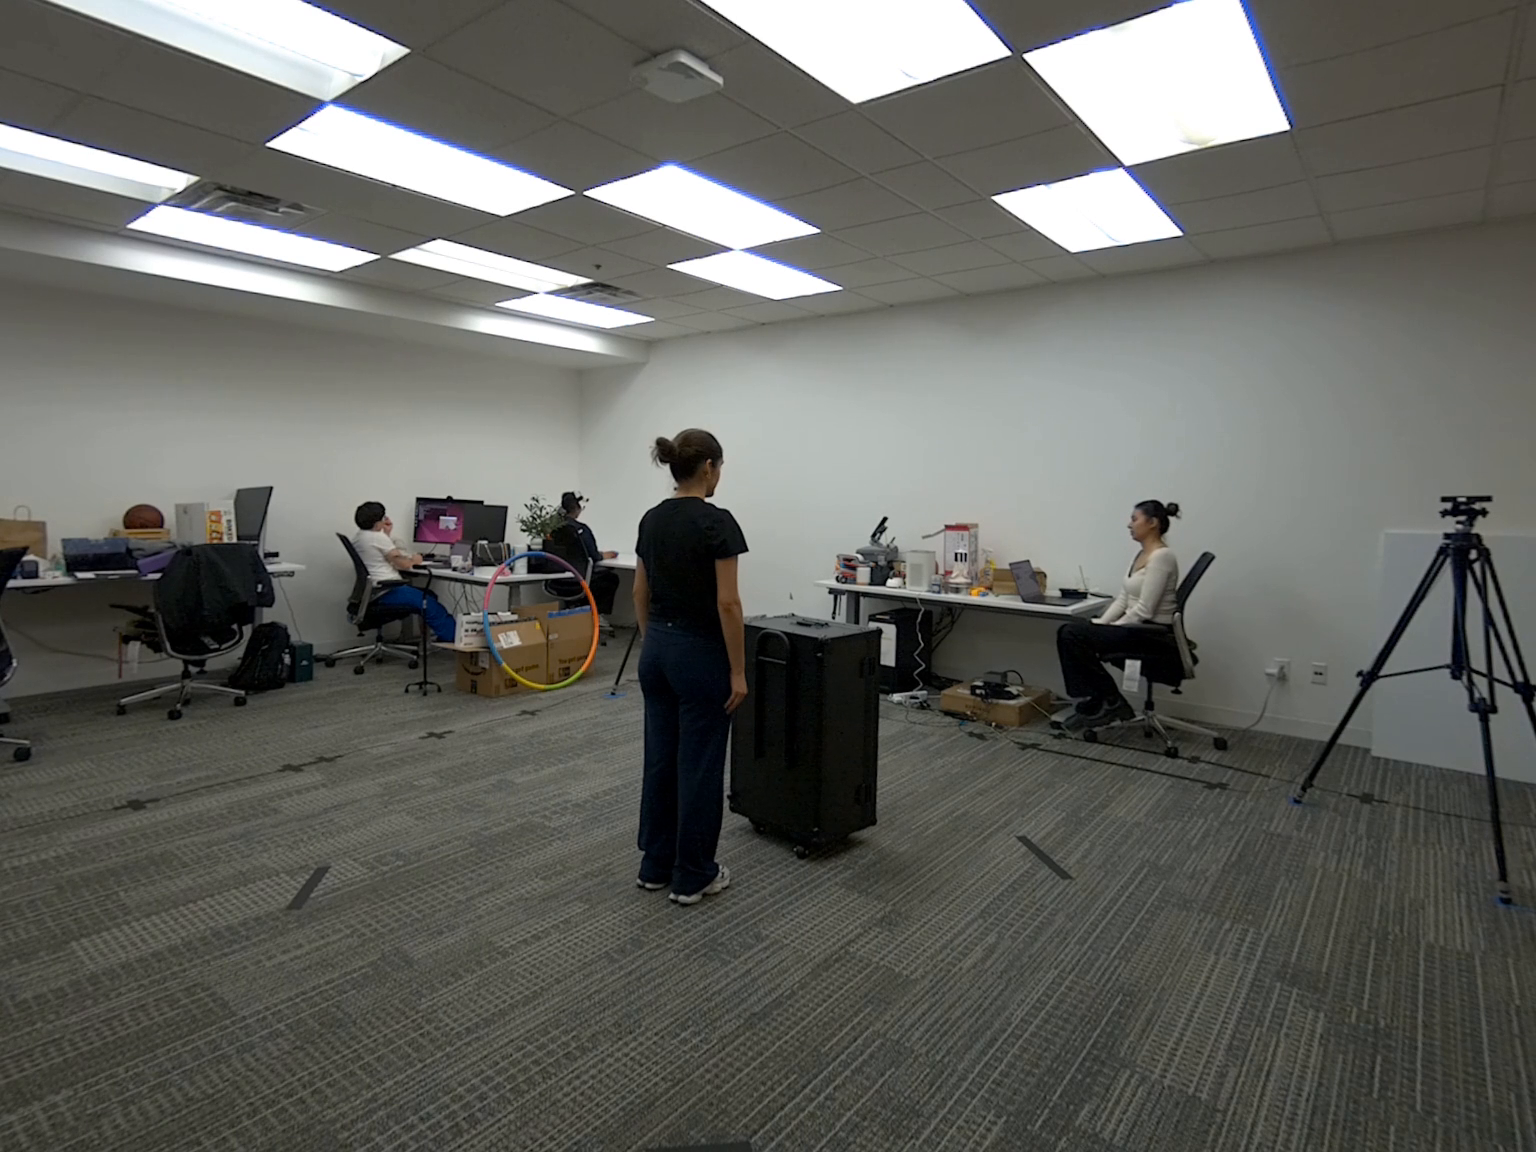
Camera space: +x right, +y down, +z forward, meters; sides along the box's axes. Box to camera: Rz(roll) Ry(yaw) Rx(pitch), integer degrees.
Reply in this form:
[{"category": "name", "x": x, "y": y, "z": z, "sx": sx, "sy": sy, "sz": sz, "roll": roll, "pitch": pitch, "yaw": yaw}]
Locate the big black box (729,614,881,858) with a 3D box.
[{"category": "big black box", "x": 0.155, "y": 0.558, "z": 3.412, "sx": 0.384, "sy": 0.858, "sz": 0.539, "roll": -2, "pitch": 6, "yaw": -44}]
